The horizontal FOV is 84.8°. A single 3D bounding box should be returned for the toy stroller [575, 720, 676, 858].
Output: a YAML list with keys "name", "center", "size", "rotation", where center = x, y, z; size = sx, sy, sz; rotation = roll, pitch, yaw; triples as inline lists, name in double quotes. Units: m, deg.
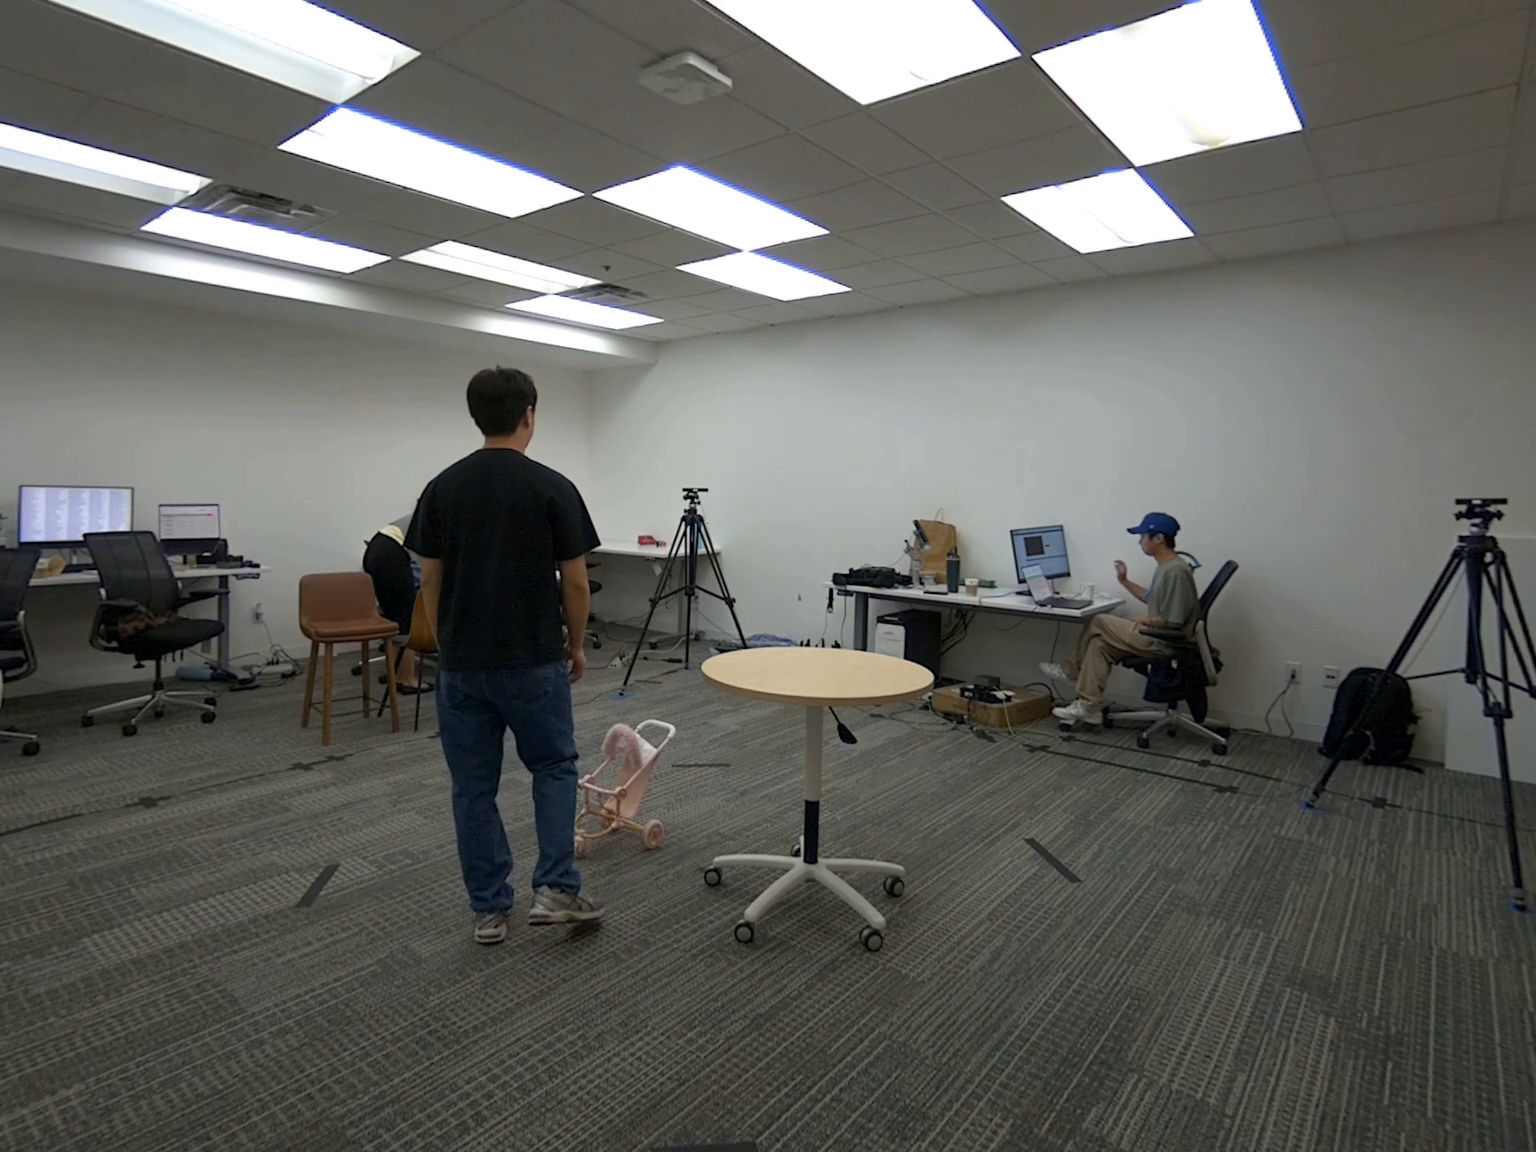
- name: "toy stroller"
  center: [-0.594, 0.817, 3.318]
  size: [0.291, 0.538, 0.328]
  rotation: [5, -10, 45]
